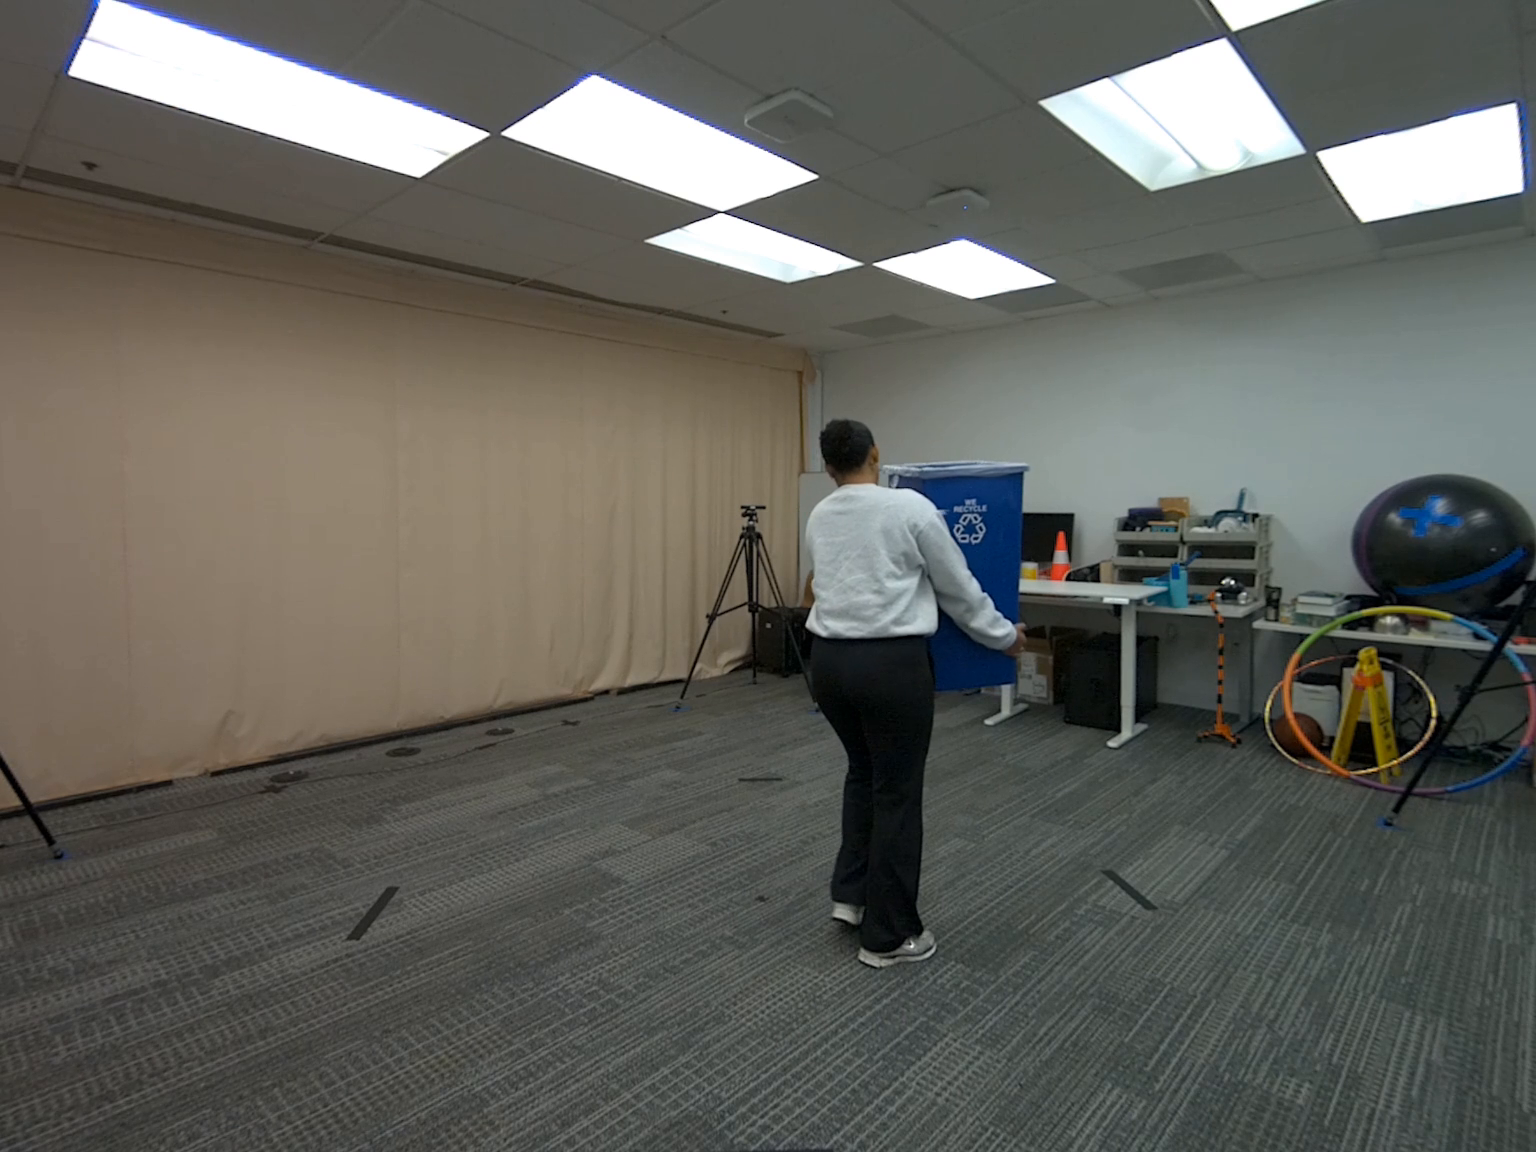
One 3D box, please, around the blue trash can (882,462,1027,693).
[{"bbox_3d":[0.627,-0.013,2.796,0.373,0.710,0.380,-4,7,-13],"label":"blue trash can"}]
